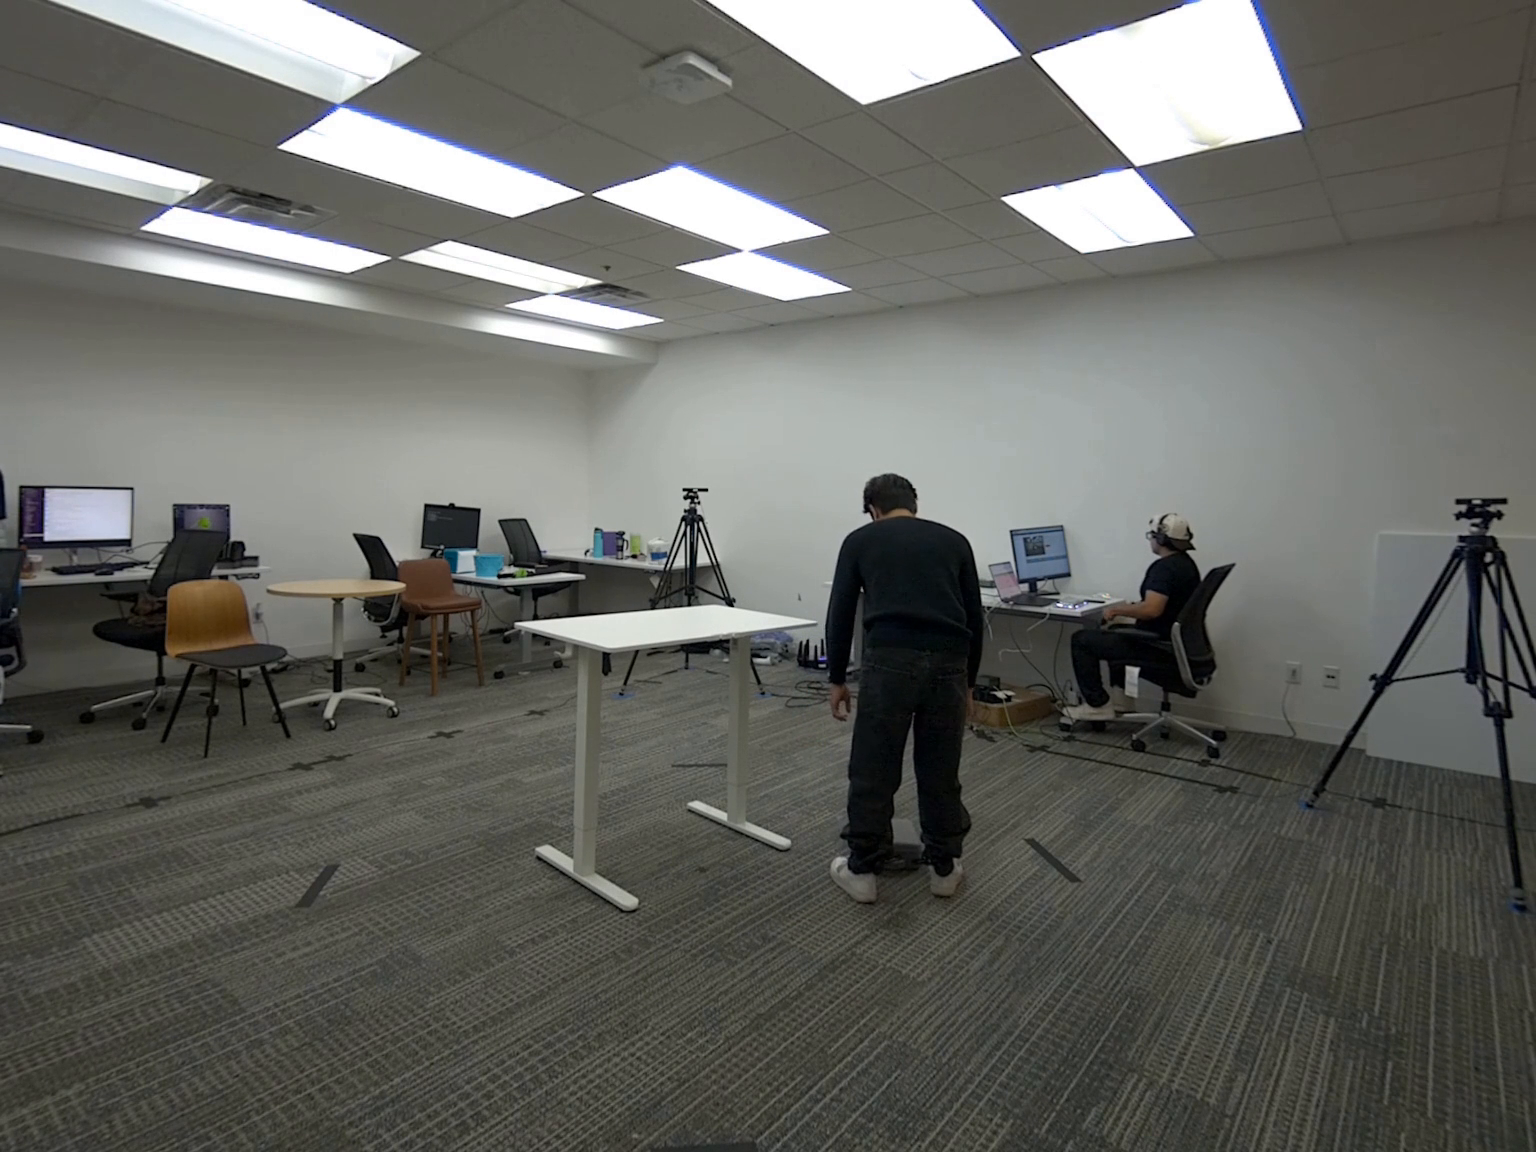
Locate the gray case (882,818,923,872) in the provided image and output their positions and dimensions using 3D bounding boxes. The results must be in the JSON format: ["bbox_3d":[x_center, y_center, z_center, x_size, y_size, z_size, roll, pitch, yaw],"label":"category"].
[{"bbox_3d":[0.438,1.009,3.254,0.258,0.104,0.261,1,7,2],"label":"gray case"}]
